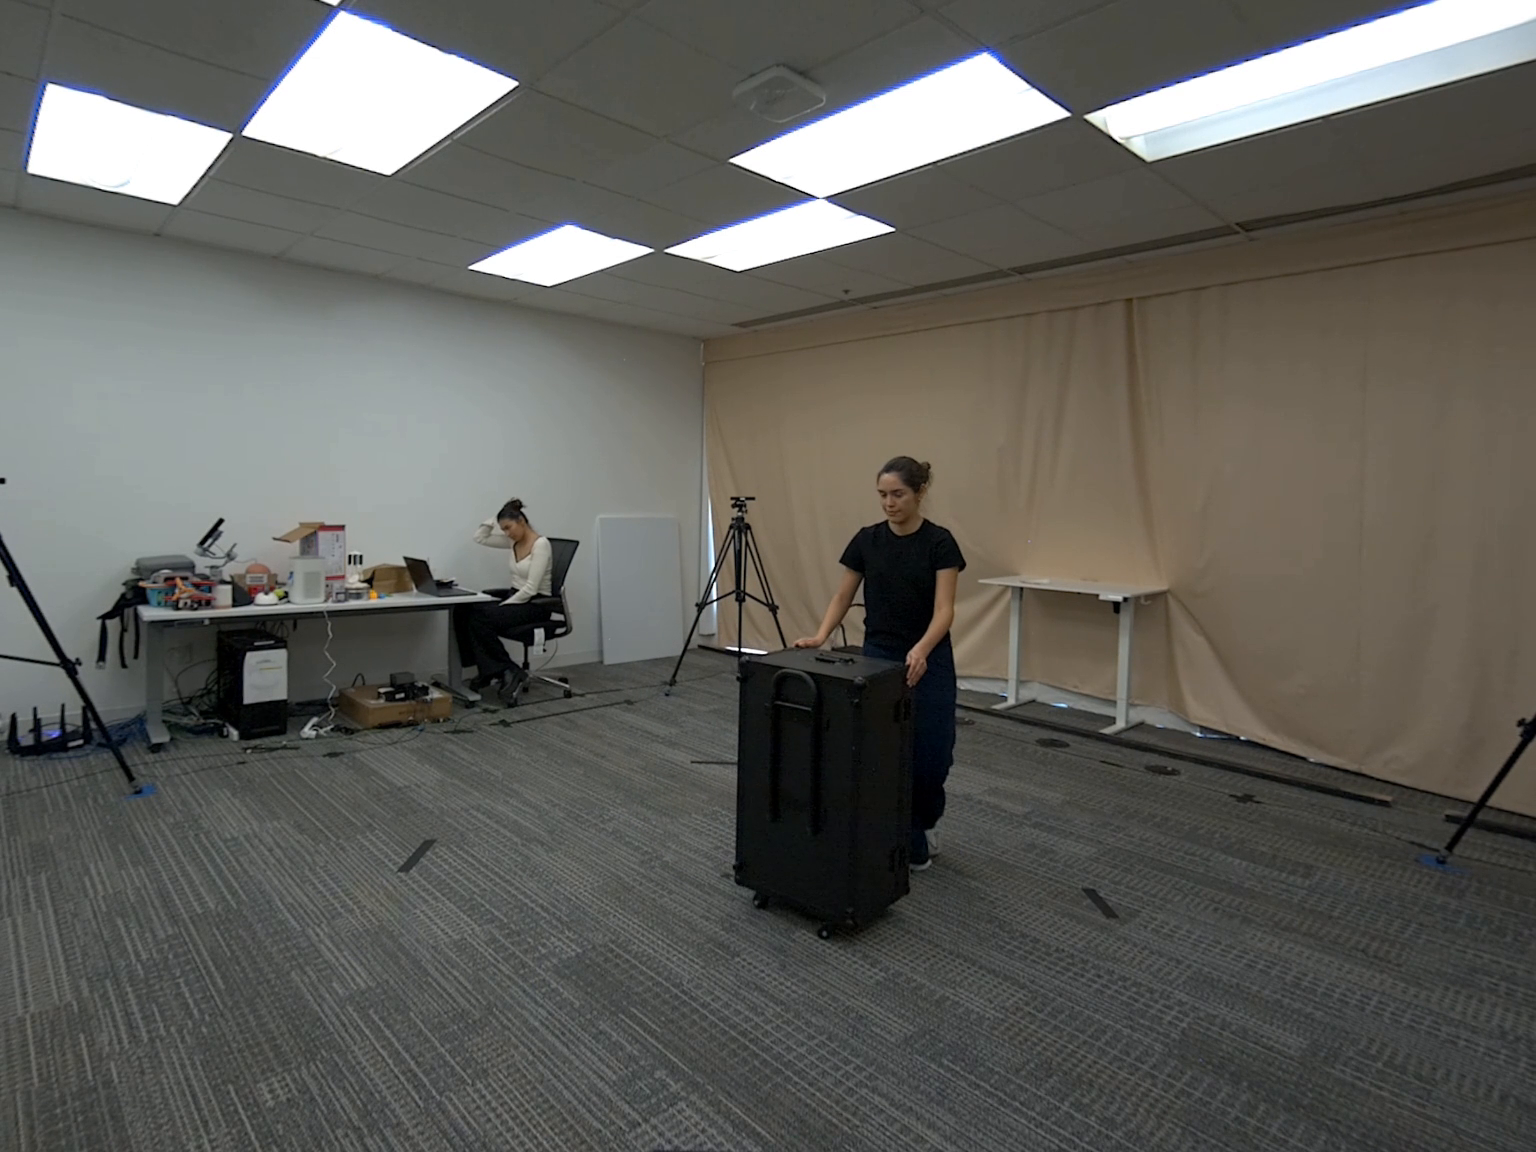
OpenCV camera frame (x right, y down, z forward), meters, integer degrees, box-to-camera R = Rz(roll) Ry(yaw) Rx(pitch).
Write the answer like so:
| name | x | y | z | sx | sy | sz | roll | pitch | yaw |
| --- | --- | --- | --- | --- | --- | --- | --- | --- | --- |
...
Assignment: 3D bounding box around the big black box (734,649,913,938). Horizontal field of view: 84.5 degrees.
| name | x | y | z | sx | sy | sz | roll | pitch | yaw |
| --- | --- | --- | --- | --- | --- | --- | --- | --- | --- |
| big black box | 0.182 | 0.712 | 2.824 | 0.534 | 0.859 | 0.387 | 5 | 6 | 40 |
